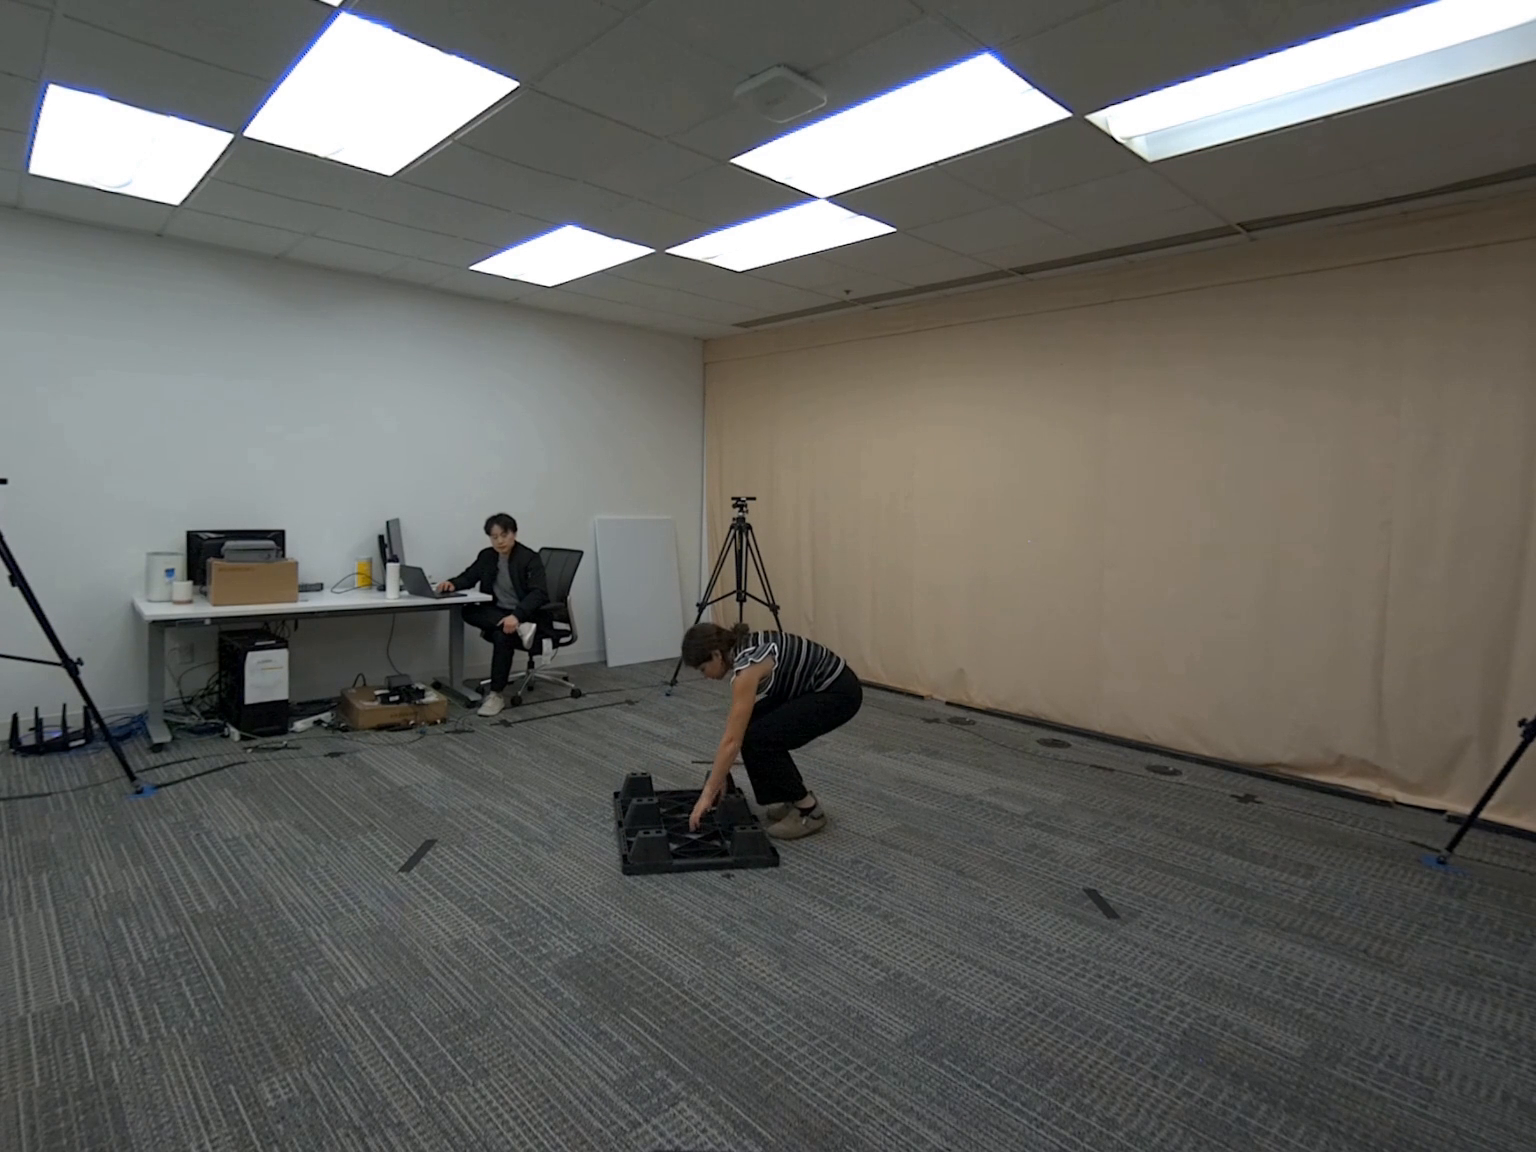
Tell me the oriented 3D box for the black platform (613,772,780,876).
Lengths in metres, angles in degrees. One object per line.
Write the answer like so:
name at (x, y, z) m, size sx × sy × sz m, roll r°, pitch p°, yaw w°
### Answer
black platform at (-0.342, 0.997, 3.523) m, size 0.599 × 0.143 × 0.815 m, roll 1°, pitch 5°, yaw -13°
